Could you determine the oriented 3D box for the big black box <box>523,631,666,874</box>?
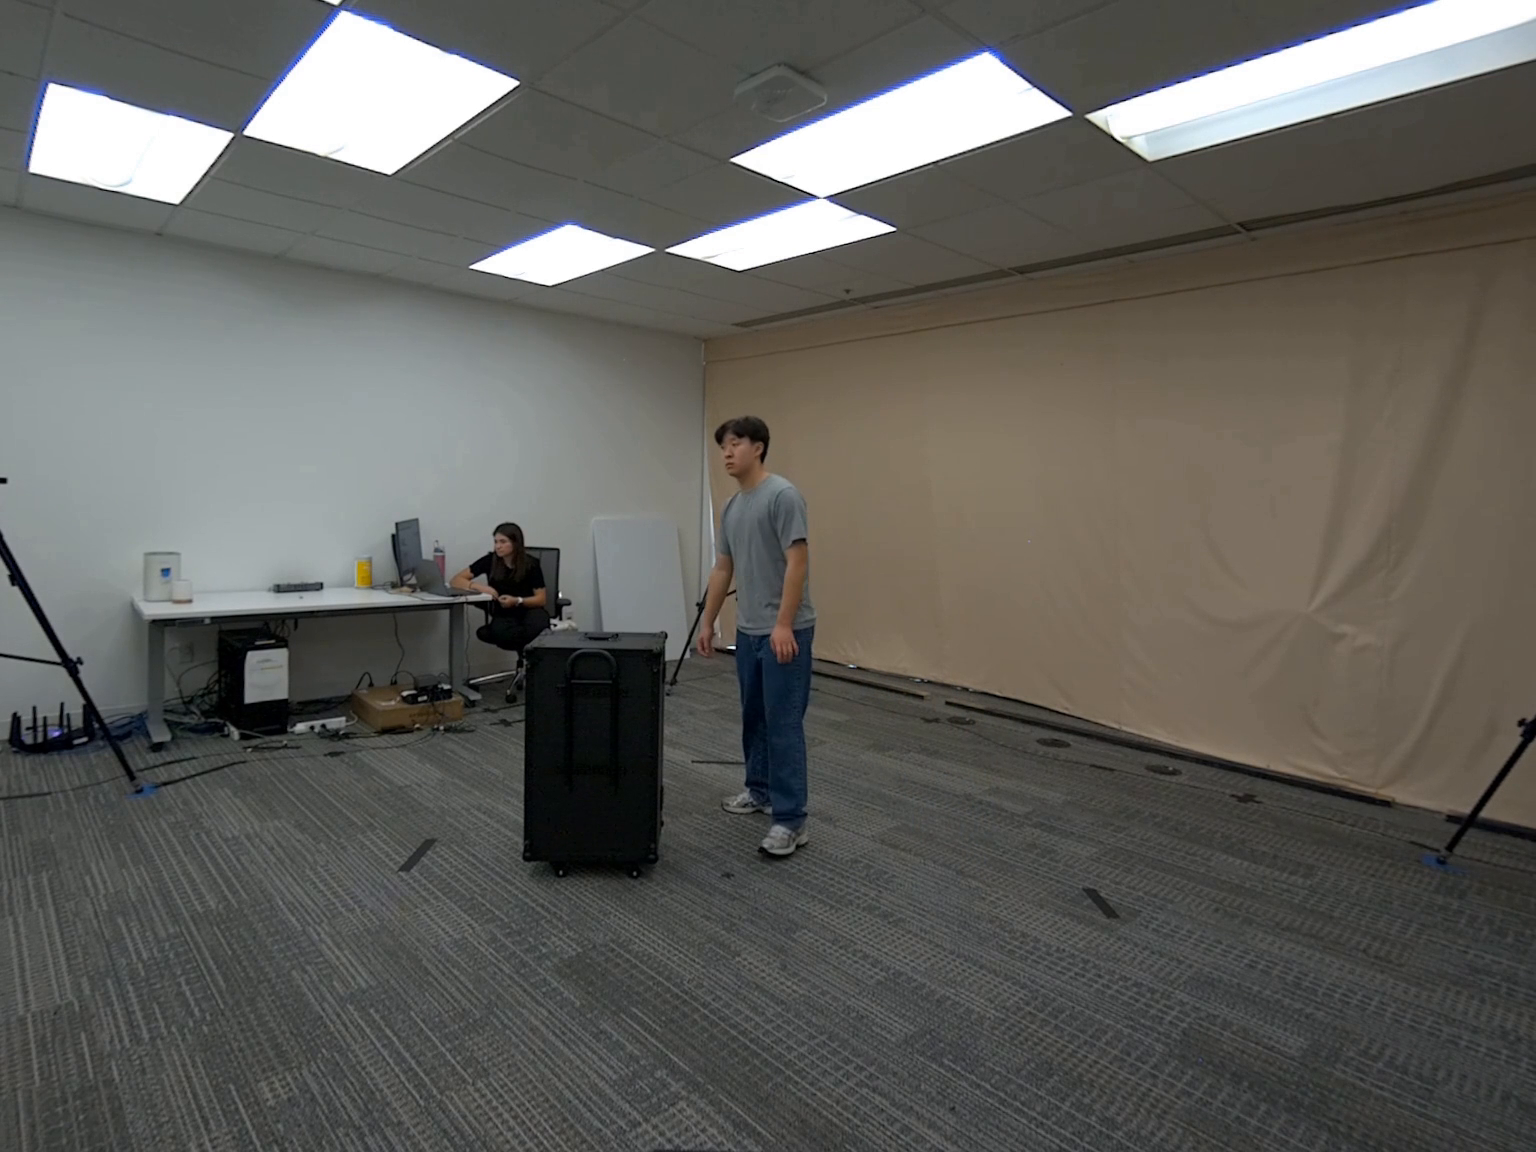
[{"bbox_3d":[-0.642,0.665,3.165,0.520,0.859,0.398,2,4,-3],"label":"big black box"}]
